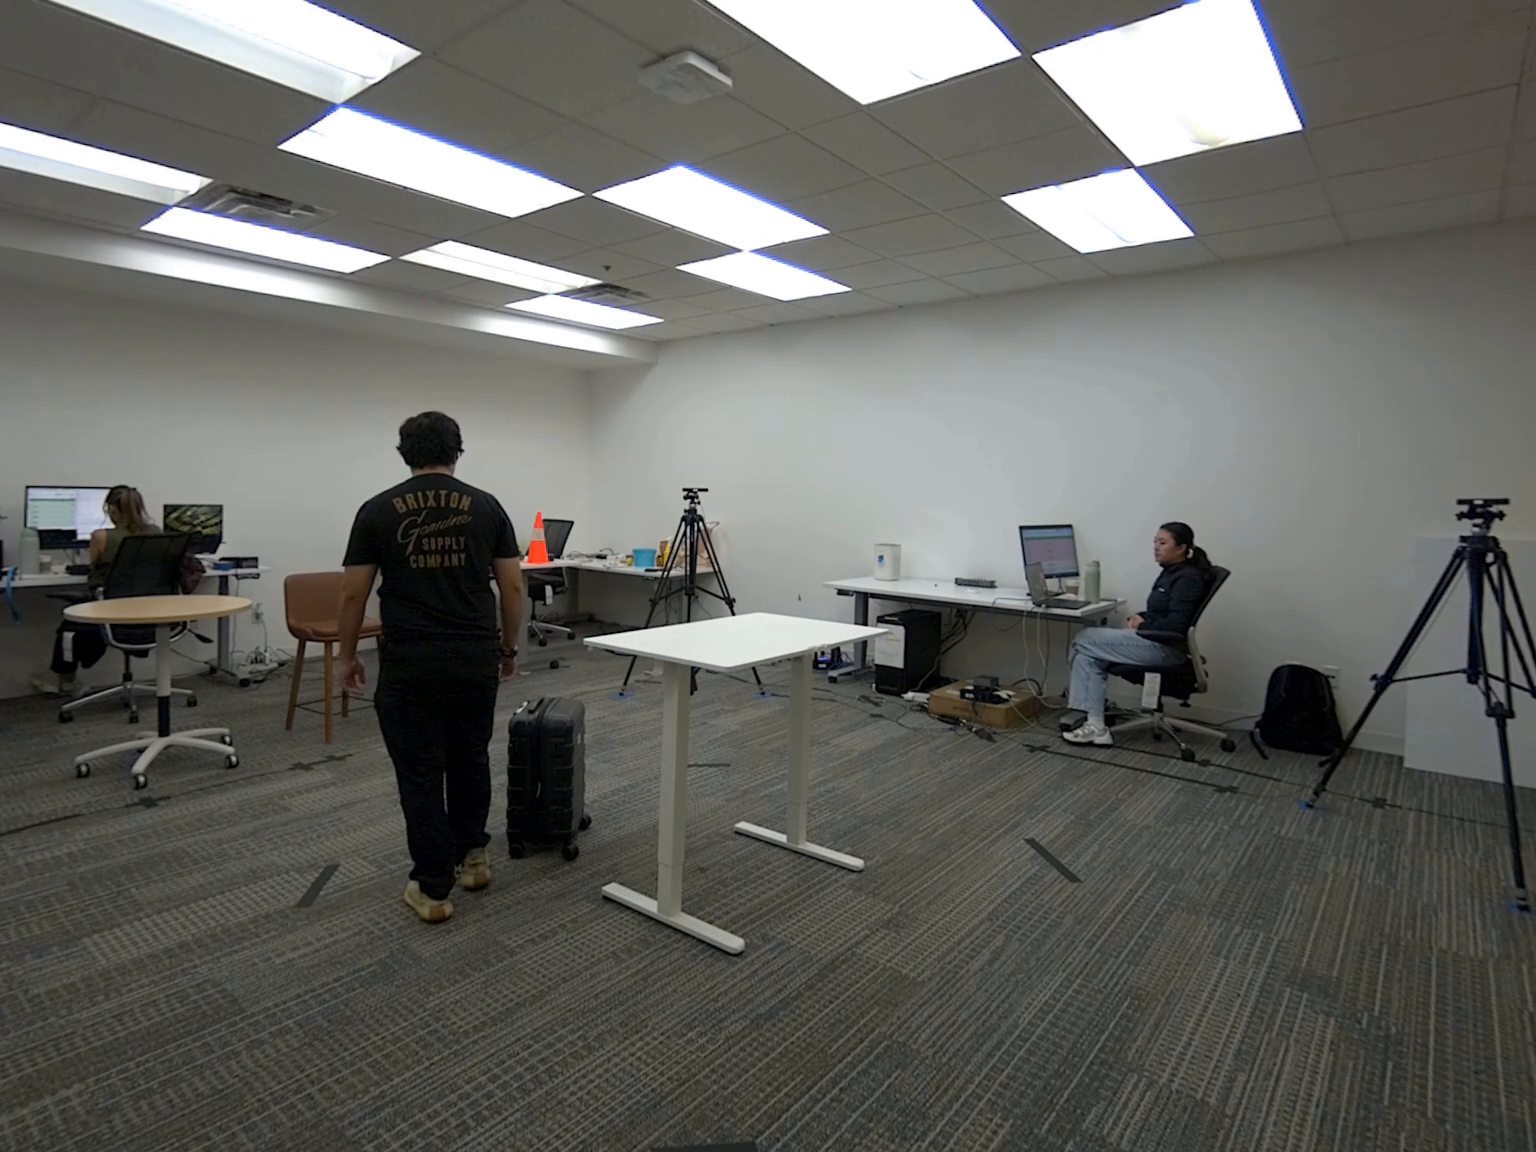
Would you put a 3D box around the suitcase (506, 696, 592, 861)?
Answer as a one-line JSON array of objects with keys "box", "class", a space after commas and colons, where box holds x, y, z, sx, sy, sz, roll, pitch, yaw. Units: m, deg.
[{"box": [-0.876, 0.765, 3.326, 0.248, 0.548, 0.377, -1, 3, -3], "class": "suitcase"}]
